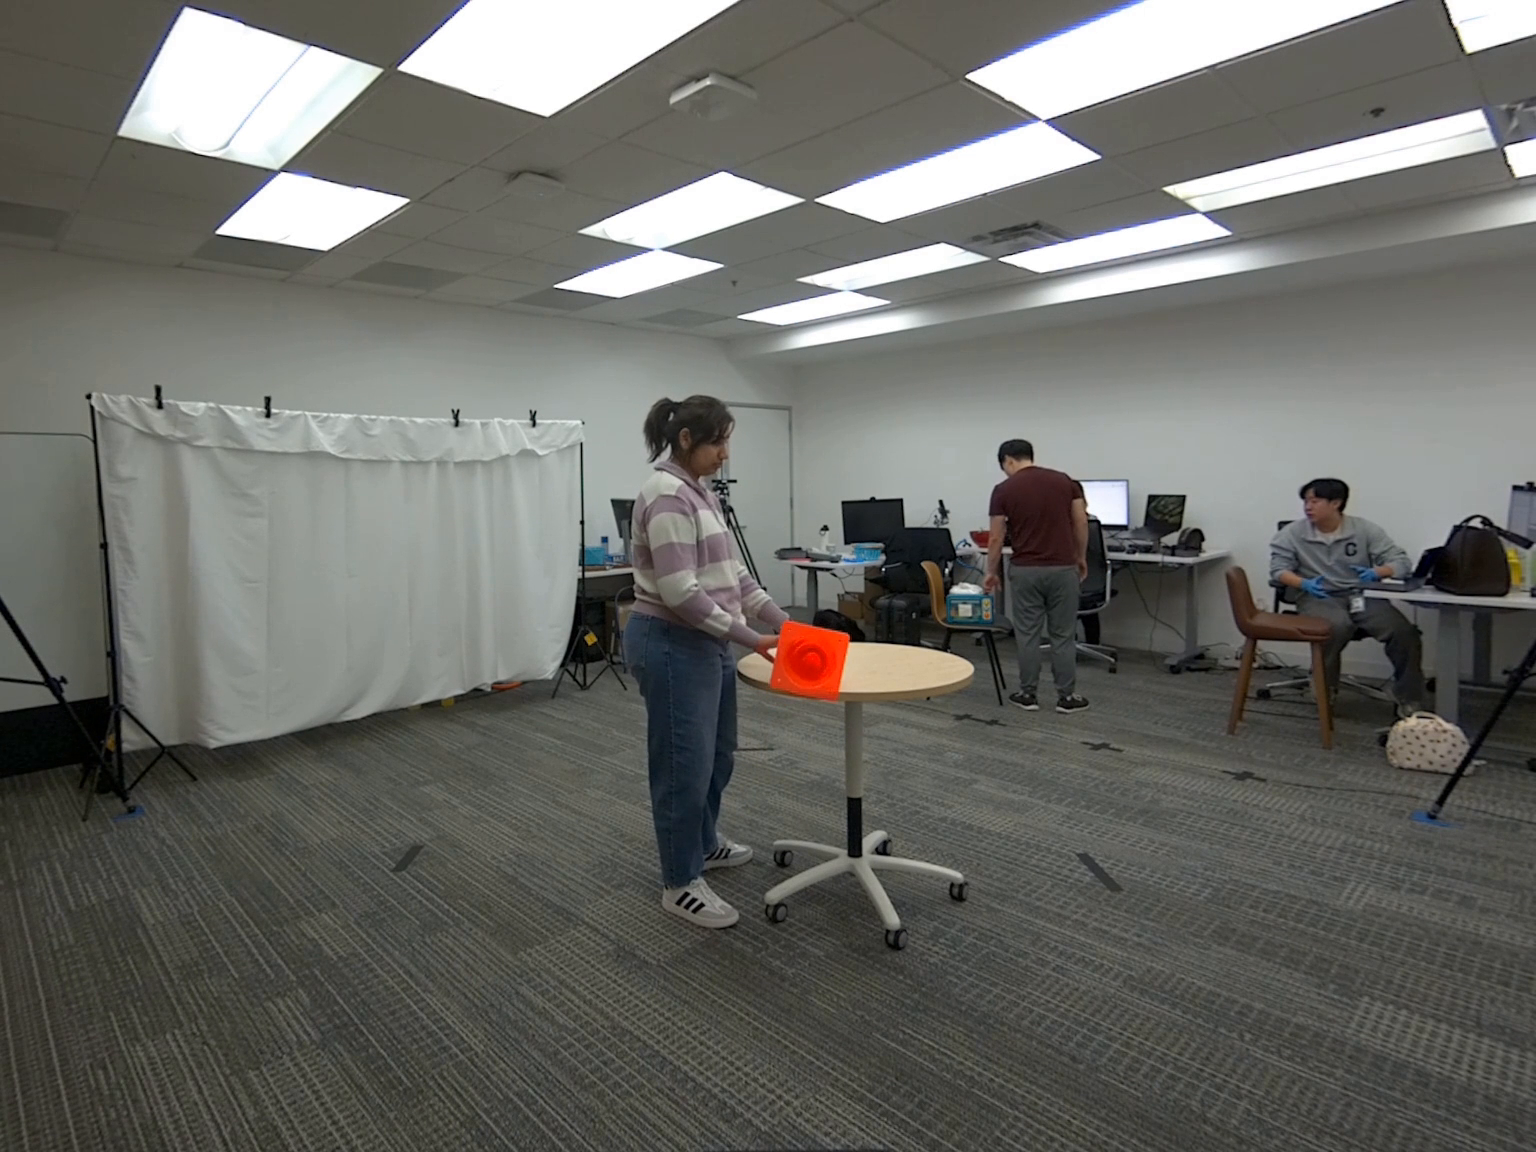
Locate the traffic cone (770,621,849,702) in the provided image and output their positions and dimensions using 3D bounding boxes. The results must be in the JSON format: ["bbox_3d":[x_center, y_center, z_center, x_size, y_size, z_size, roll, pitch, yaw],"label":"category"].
[{"bbox_3d":[0.131,0.267,2.654,0.207,0.205,0.378,8,-8,6],"label":"traffic cone"}]
